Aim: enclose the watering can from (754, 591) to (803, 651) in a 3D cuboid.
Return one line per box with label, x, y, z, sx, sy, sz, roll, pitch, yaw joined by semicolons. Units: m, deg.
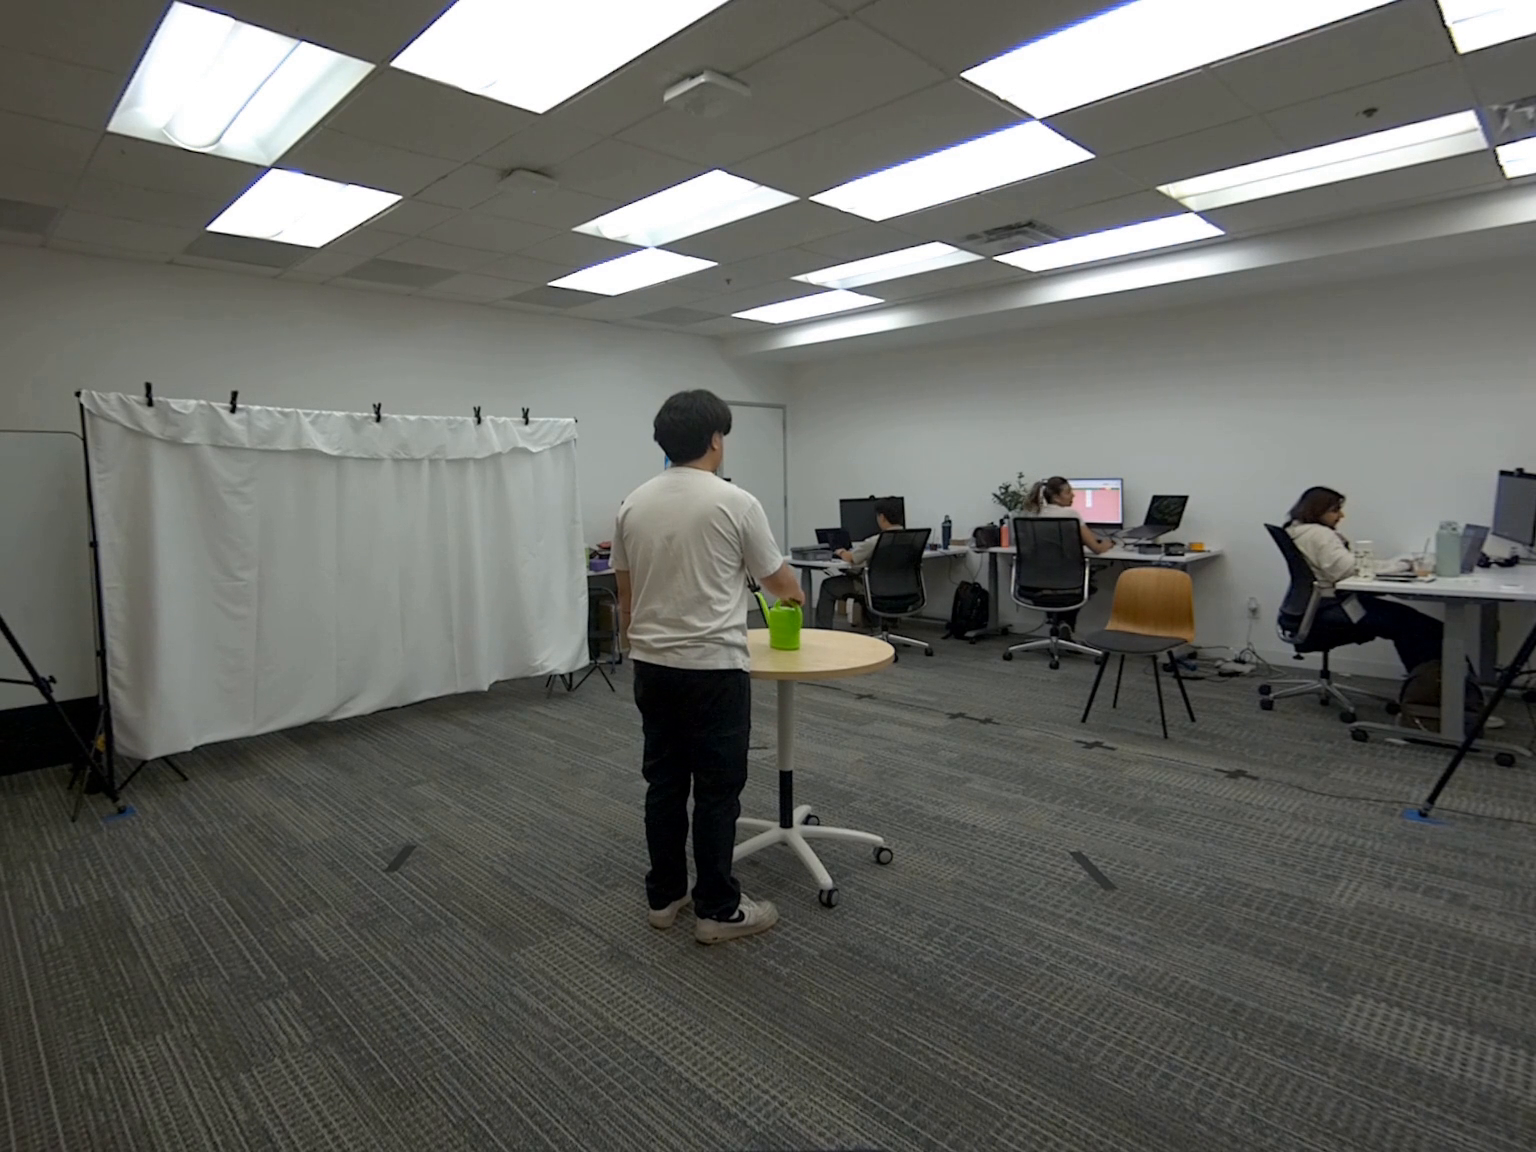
watering can;0.049;0.161;3.086;0.096;0.176;0.285;0;6;-22
